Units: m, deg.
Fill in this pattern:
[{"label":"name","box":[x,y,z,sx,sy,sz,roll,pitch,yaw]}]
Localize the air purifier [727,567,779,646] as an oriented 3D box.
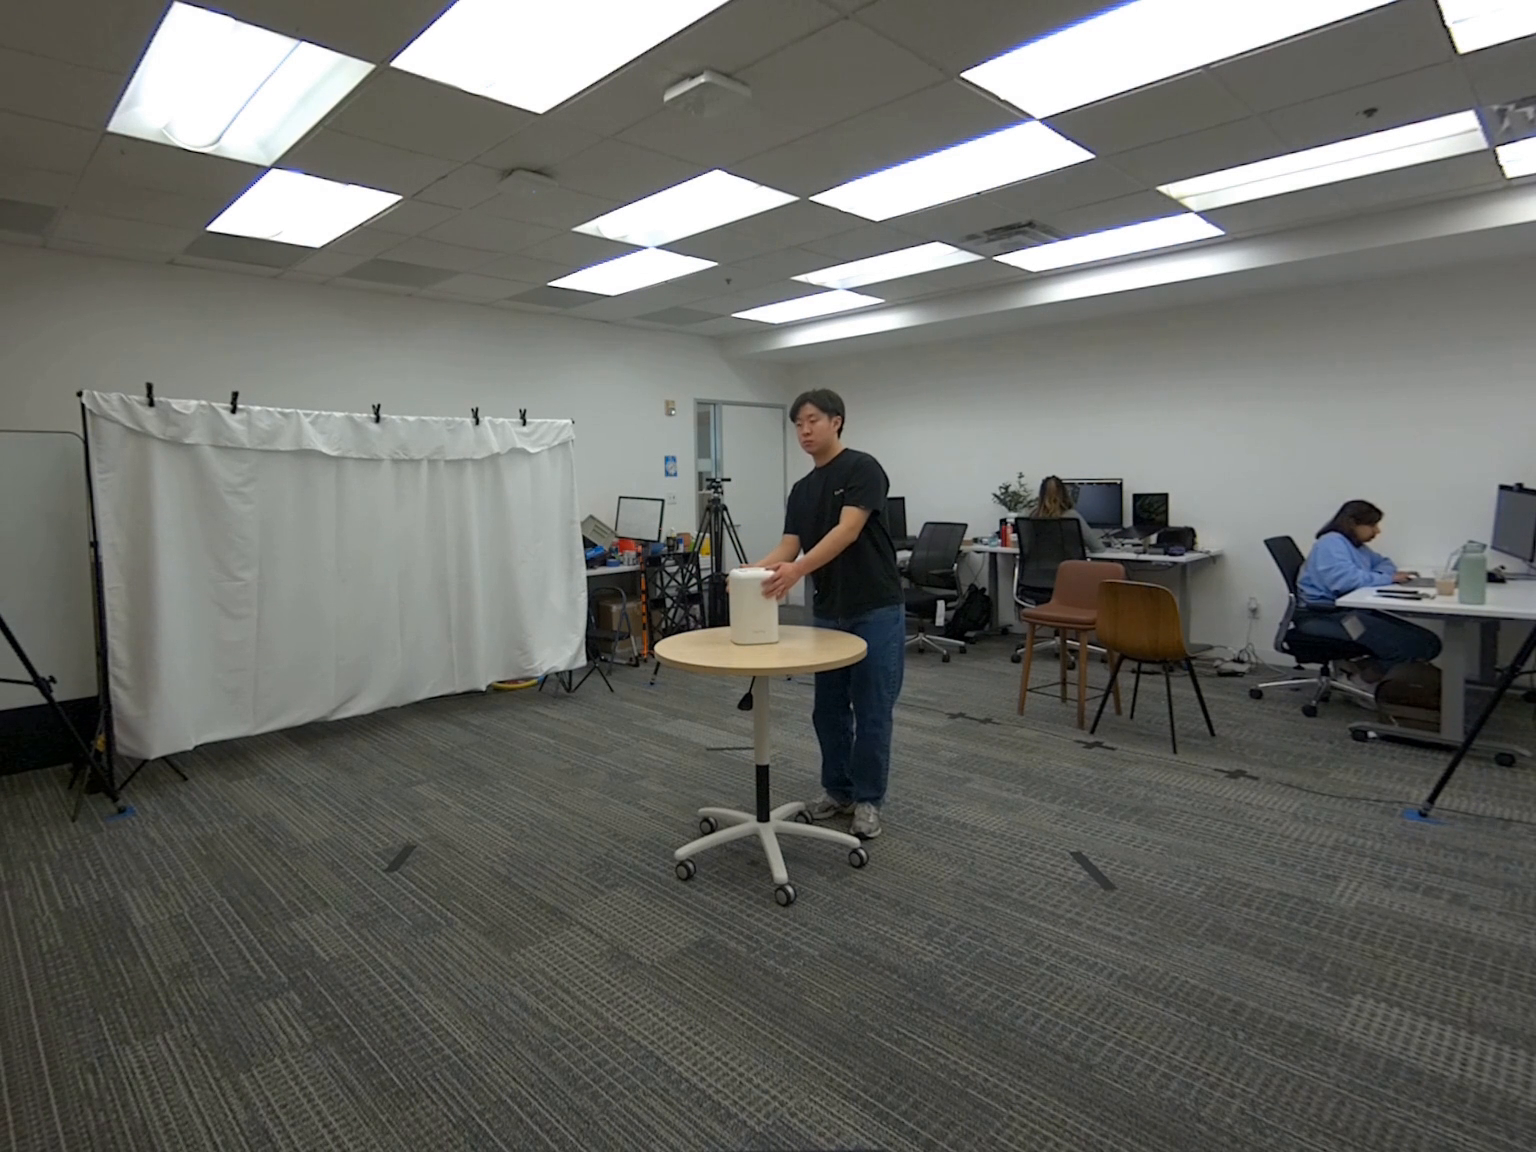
[{"label":"air purifier","box":[-0.053,0.109,3.159,0.170,0.264,0.173,0,4,-5]}]
